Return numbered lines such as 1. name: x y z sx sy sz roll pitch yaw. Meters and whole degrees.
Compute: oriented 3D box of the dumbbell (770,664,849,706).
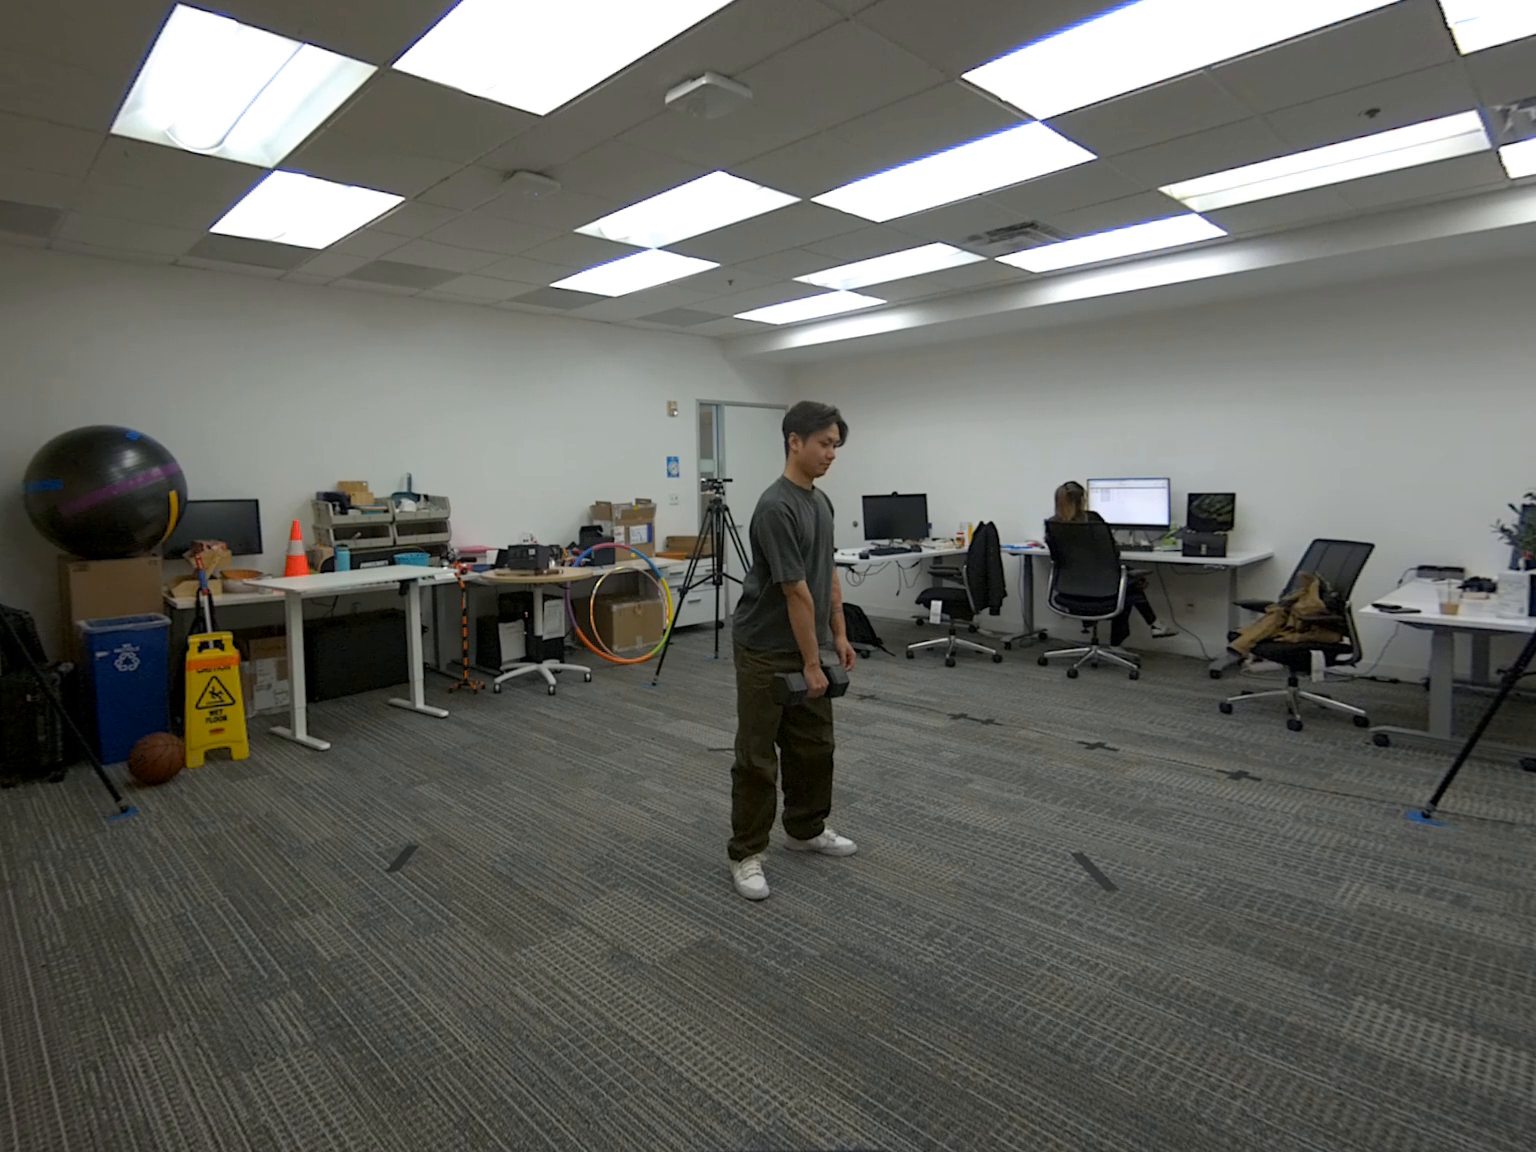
1. dumbbell: 0.144 0.372 2.897 0.285 0.121 0.113 -3 32 -43
